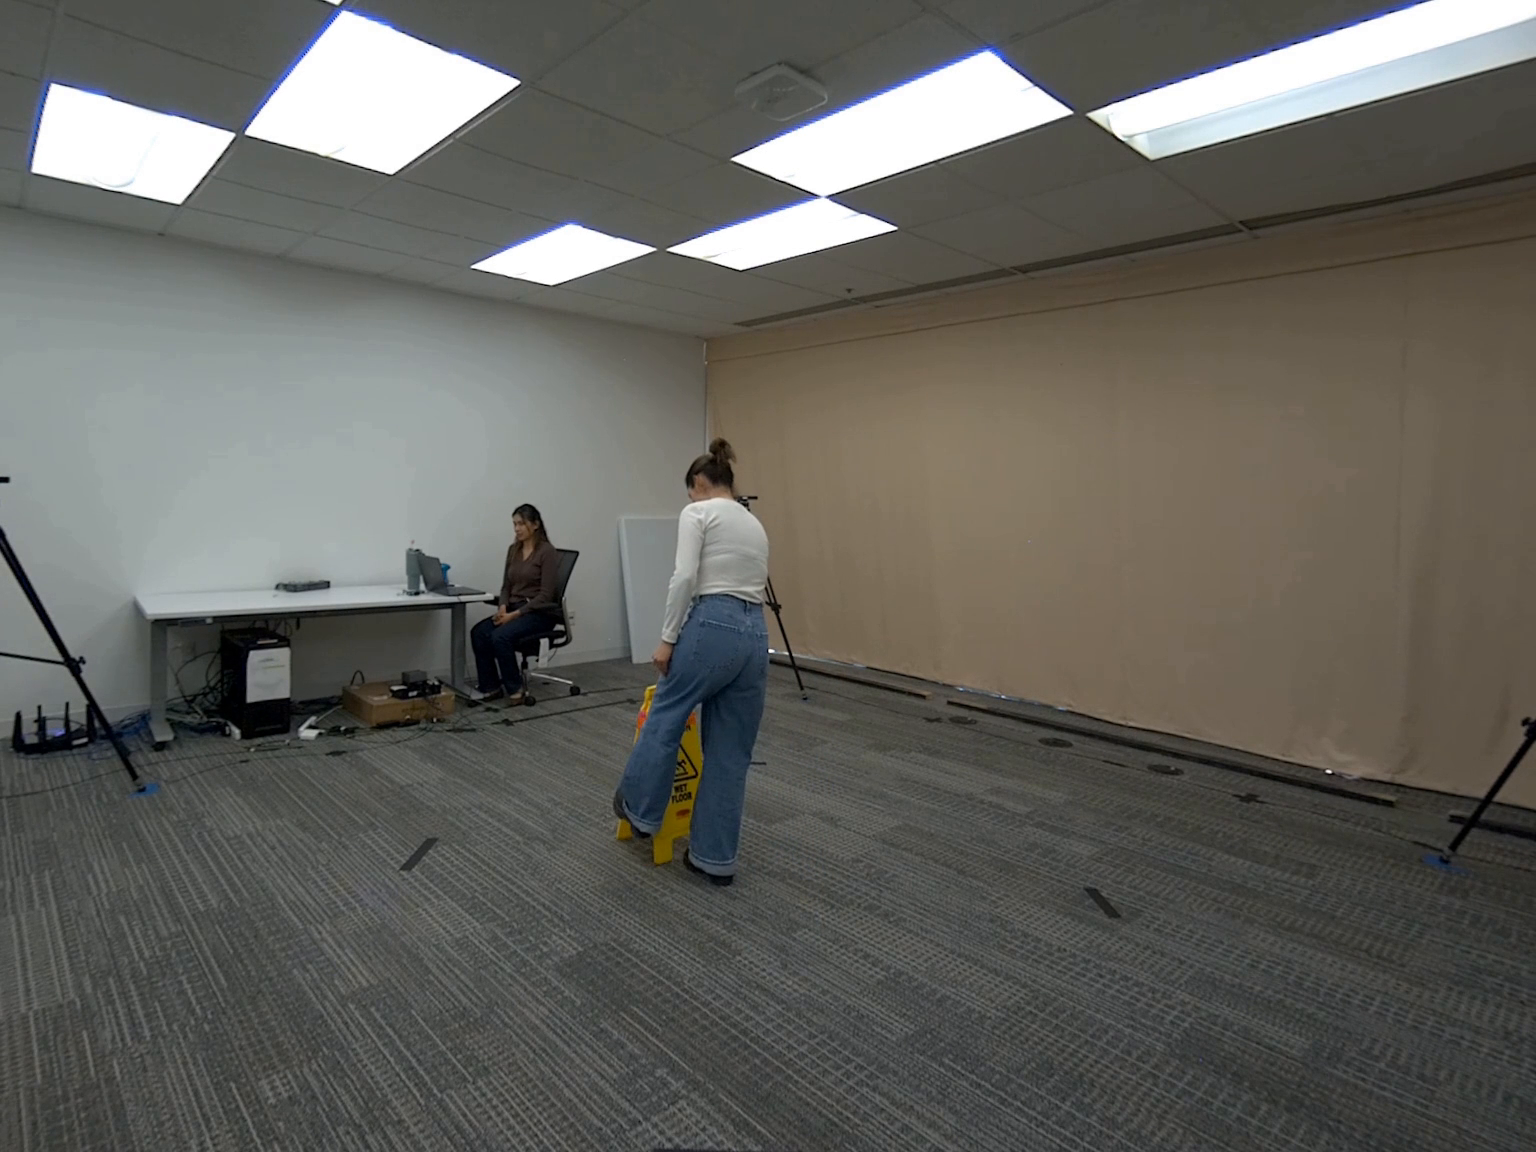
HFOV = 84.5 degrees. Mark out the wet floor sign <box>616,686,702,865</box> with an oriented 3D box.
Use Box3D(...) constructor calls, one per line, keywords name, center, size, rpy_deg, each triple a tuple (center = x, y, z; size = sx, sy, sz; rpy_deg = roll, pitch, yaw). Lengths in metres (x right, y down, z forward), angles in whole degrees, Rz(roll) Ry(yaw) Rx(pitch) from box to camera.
Box3D(name="wet floor sign", center=(-0.404, 0.752, 3.353), size=(0.276, 0.645, 0.297), rpy_deg=(0, 4, -40))
